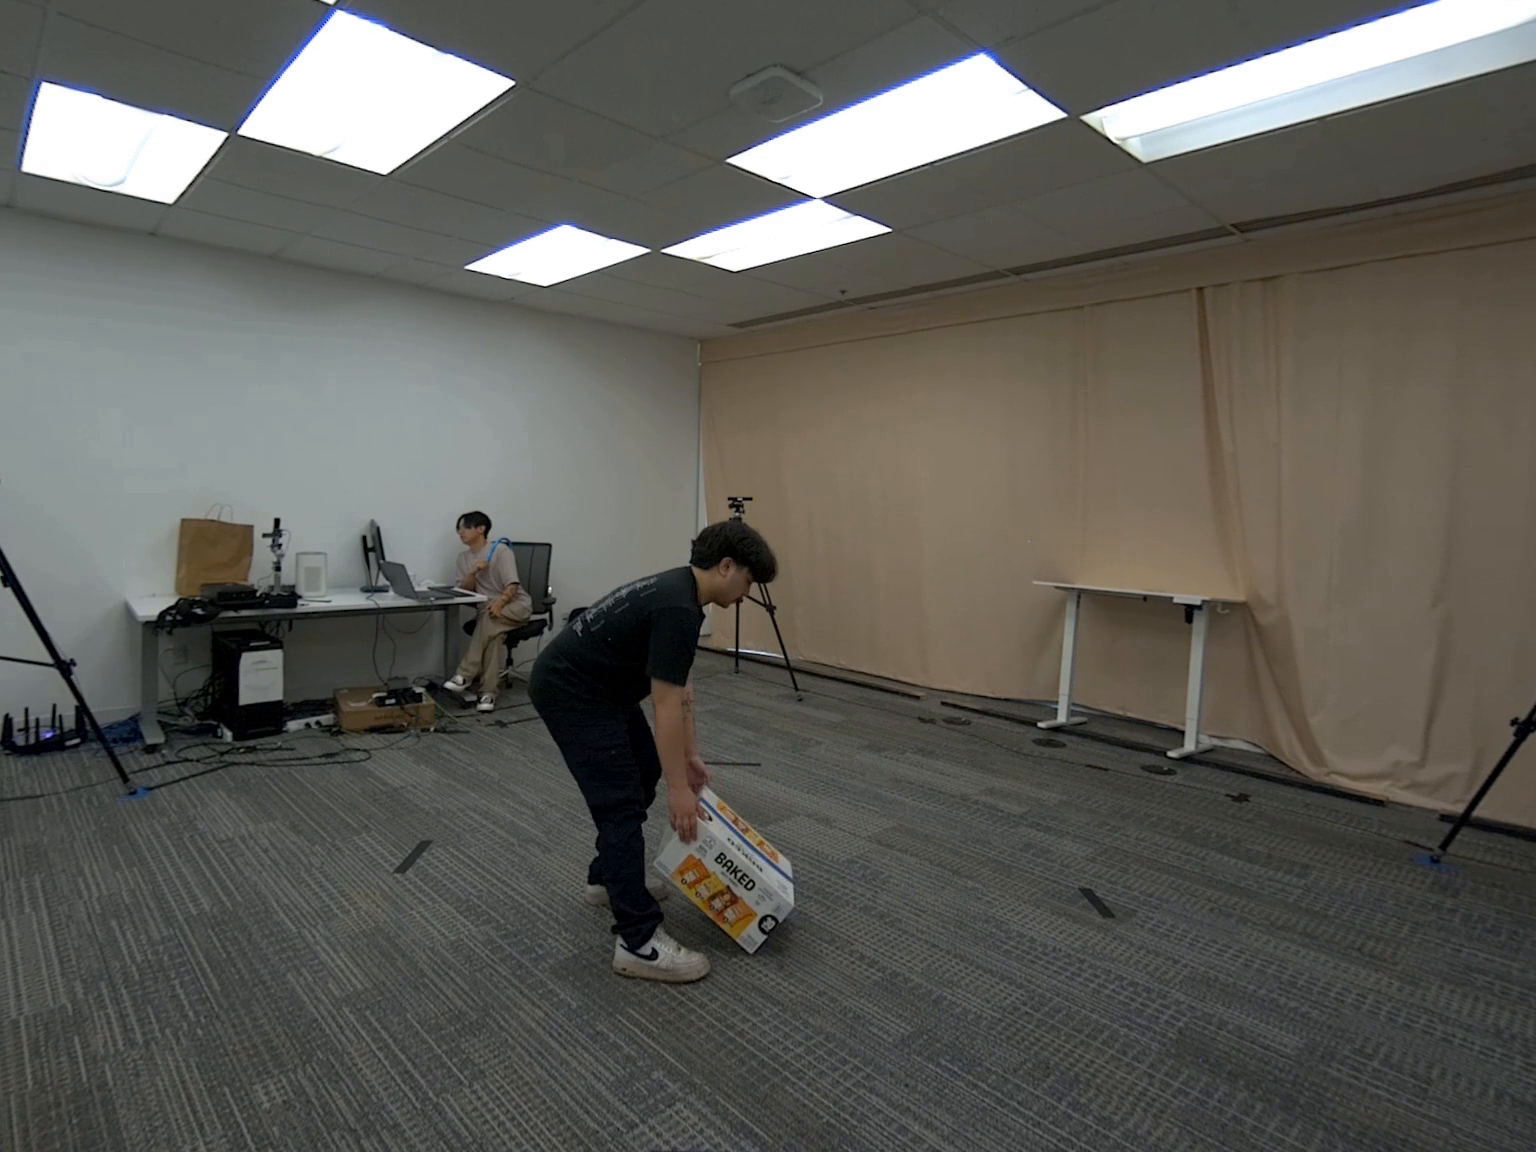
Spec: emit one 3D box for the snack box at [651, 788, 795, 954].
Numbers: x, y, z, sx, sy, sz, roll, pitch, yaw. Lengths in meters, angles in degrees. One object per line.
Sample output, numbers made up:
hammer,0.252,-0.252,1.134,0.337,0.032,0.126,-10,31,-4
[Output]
snack box,-0.140,0.935,2.708,0.405,0.205,0.340,42,1,-1
